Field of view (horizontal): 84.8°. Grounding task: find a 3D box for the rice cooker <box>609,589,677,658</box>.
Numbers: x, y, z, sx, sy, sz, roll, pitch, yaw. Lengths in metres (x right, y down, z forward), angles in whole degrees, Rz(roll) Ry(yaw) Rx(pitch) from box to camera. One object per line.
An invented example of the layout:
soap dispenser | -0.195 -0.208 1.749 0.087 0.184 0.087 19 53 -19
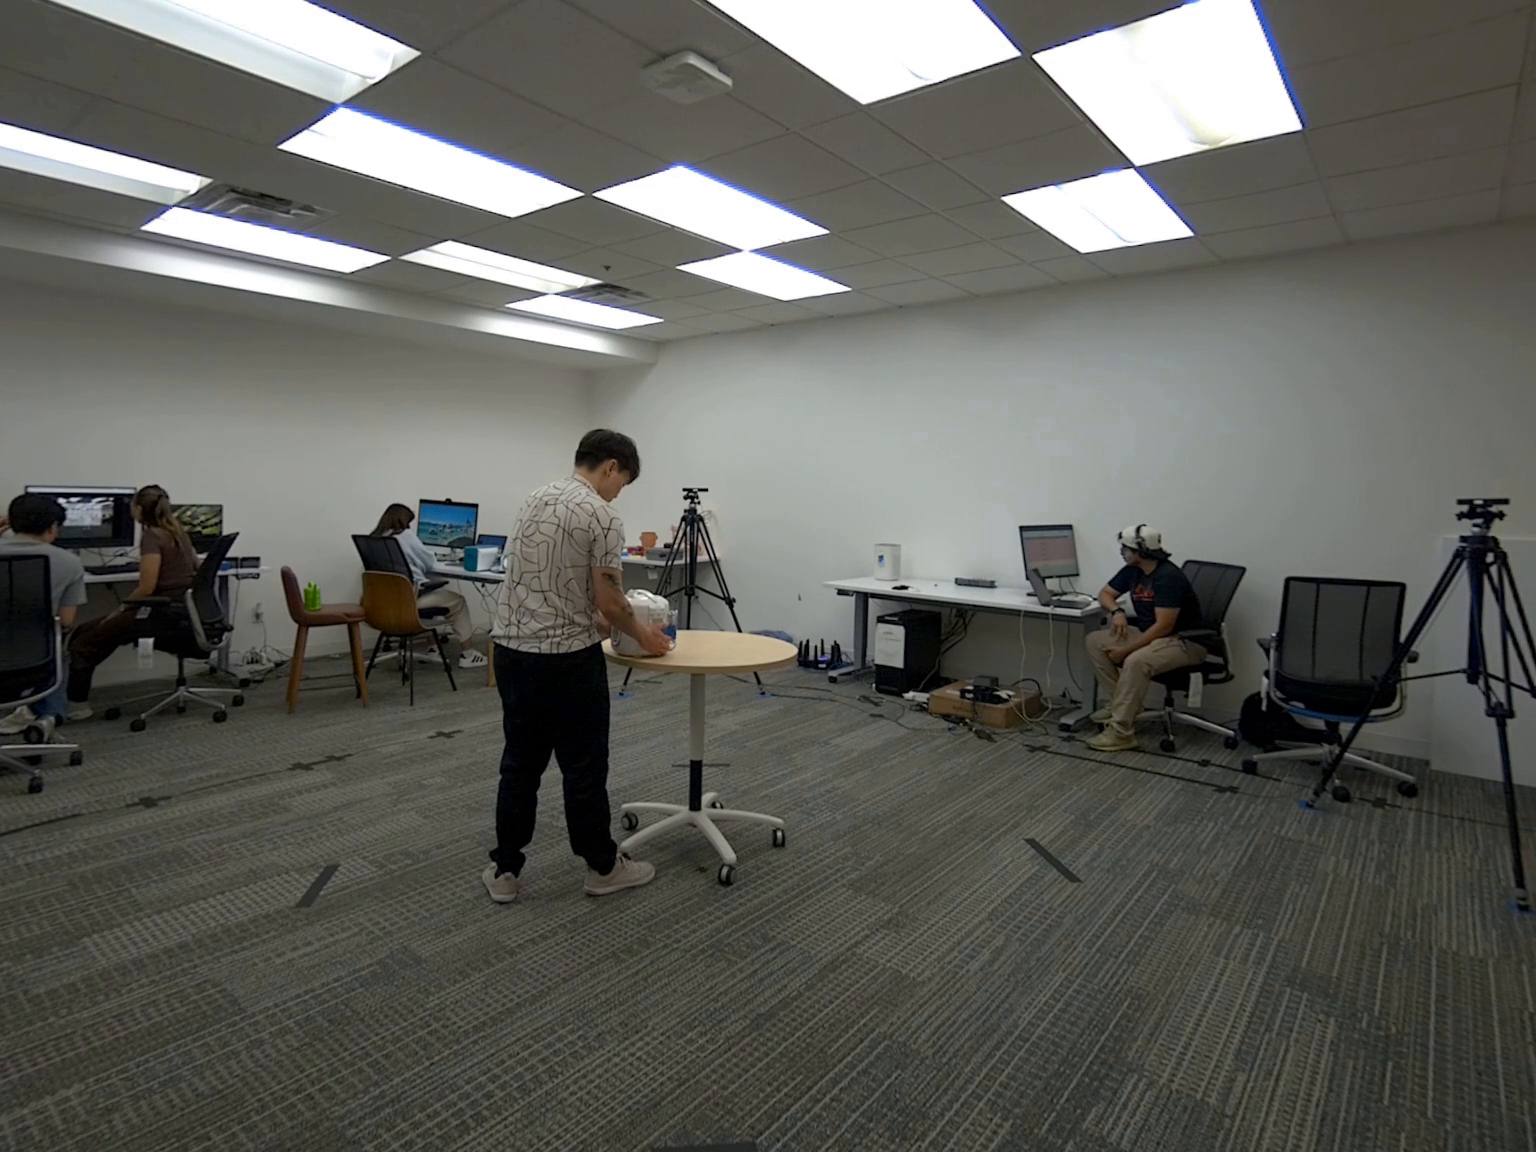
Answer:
rice cooker | -0.473 0.168 3.113 0.211 0.232 0.228 -2 5 -44
